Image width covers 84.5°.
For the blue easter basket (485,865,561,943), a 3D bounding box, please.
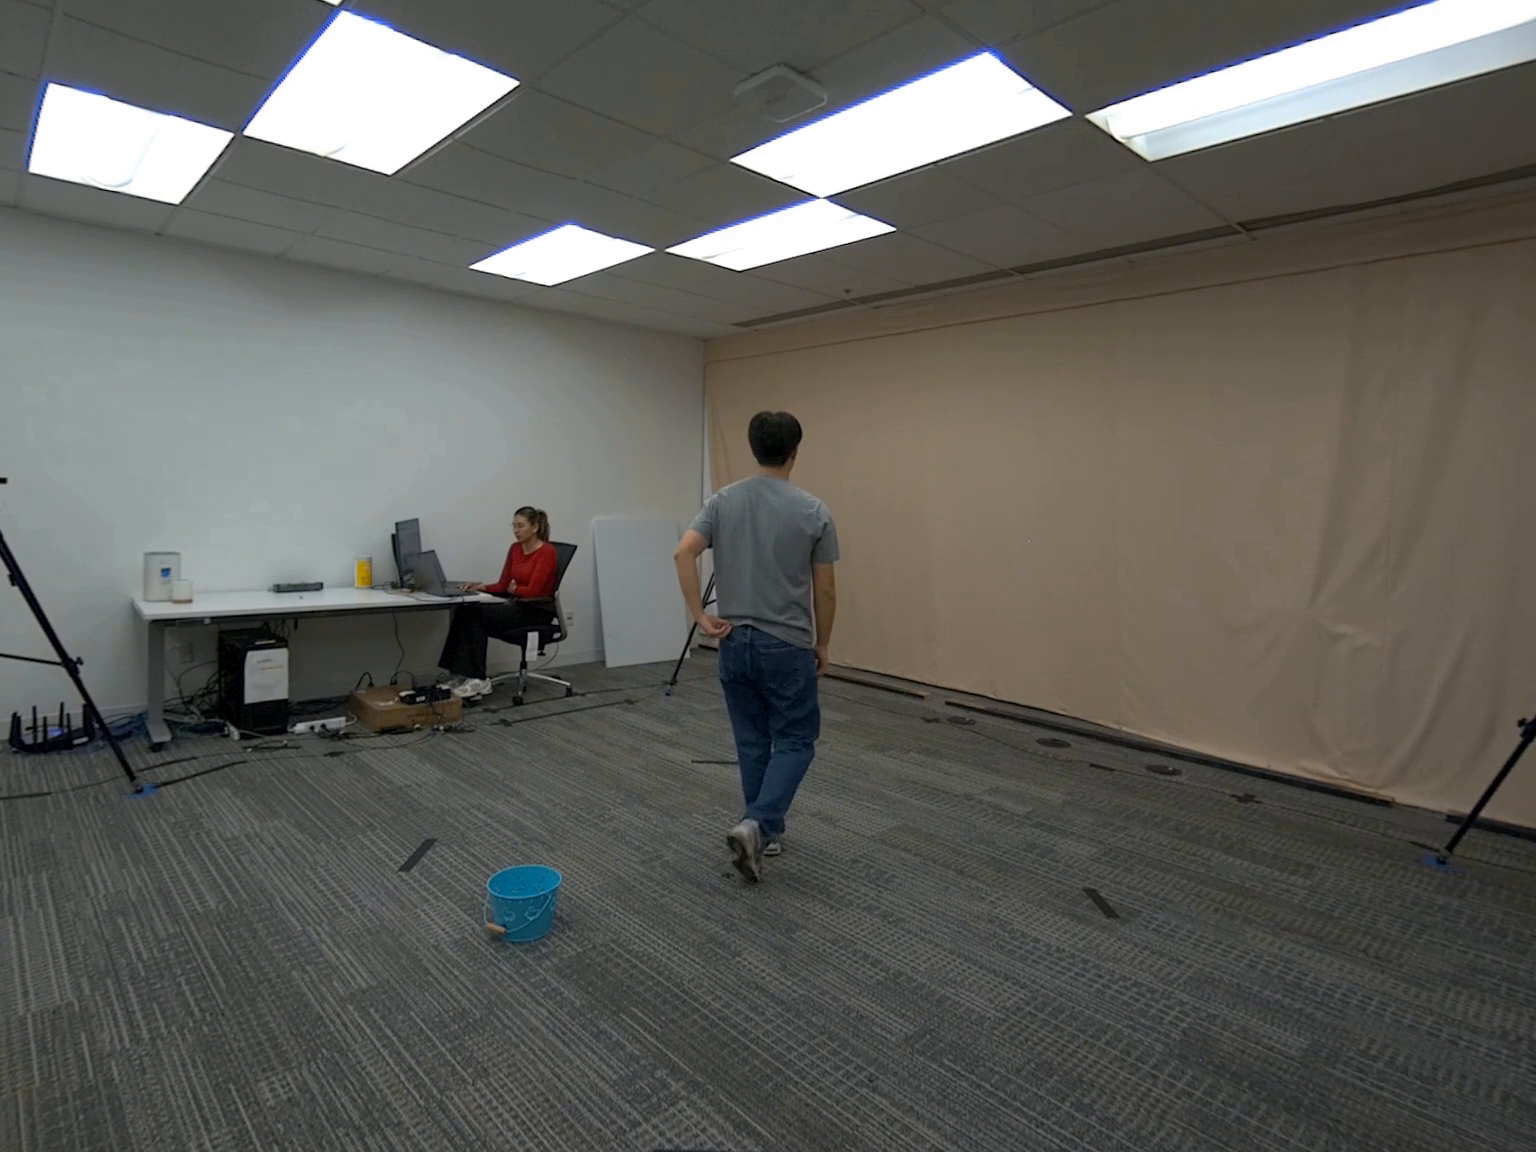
[{"bbox_3d":[-0.792,1.051,2.694,0.243,0.155,0.244,2,5,-2],"label":"blue easter basket"}]
